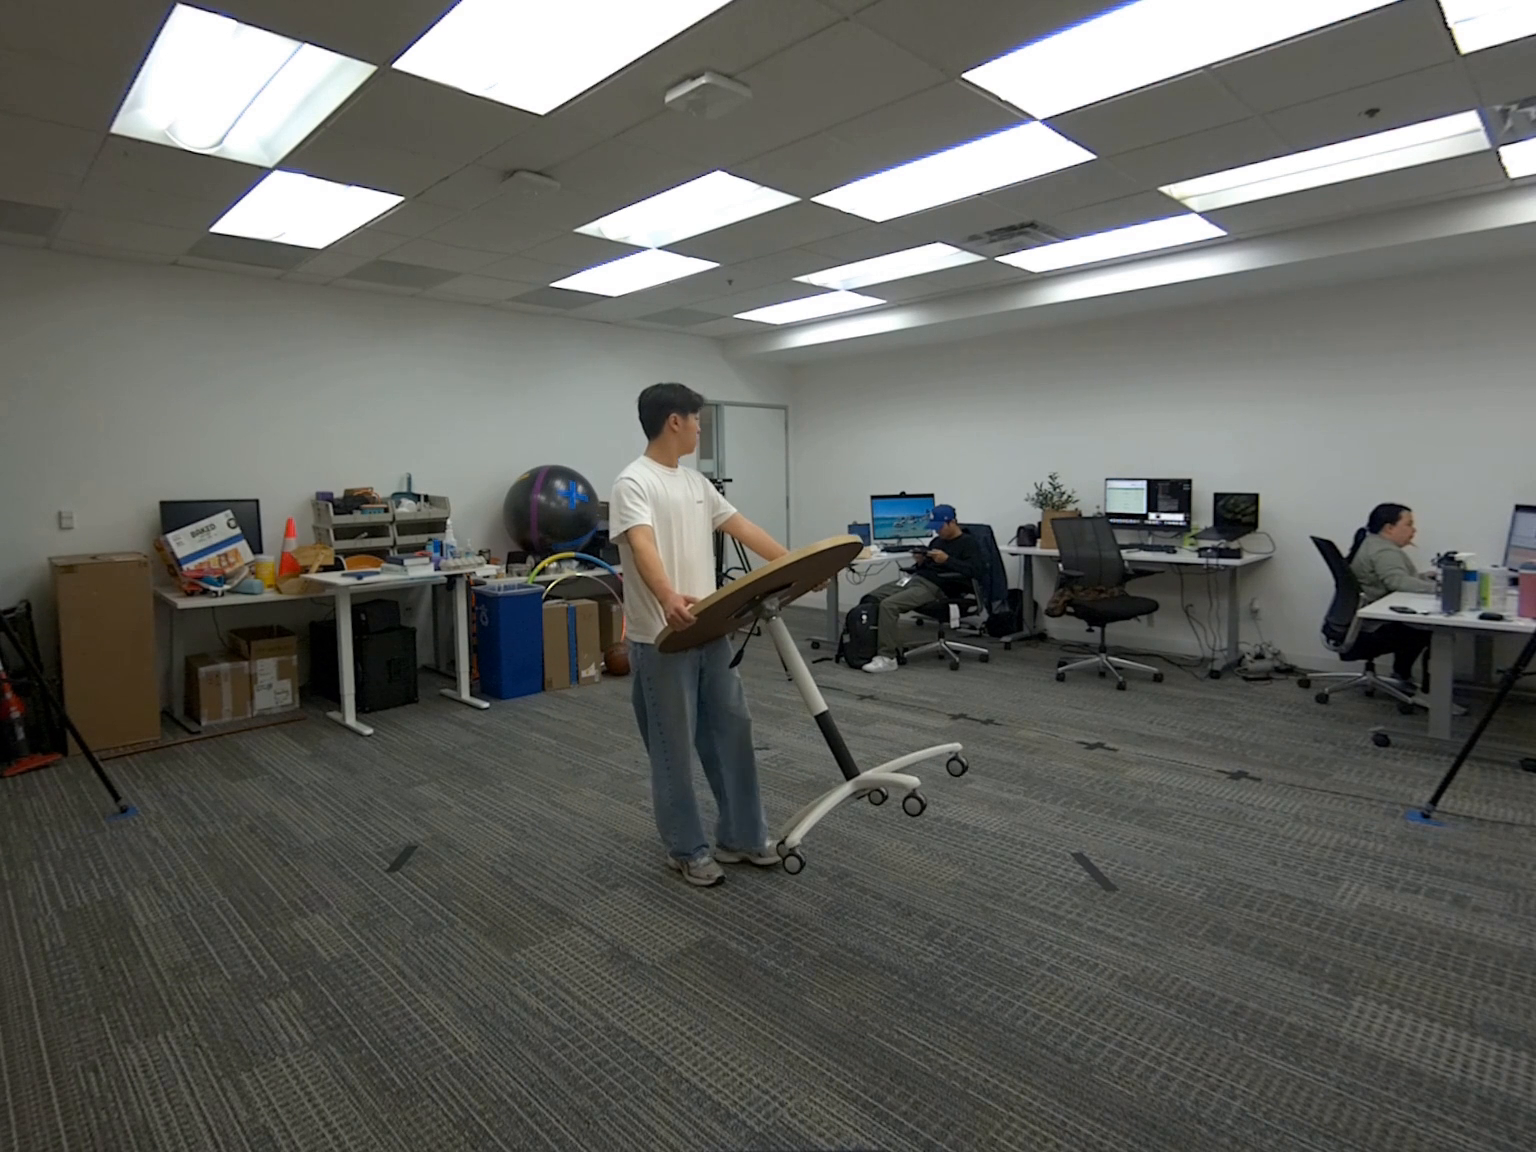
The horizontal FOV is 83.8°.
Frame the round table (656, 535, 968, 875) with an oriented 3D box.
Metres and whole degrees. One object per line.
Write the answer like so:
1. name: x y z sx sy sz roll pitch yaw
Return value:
1. round table: 0.154 0.414 2.751 0.761 0.807 0.754 -25 -12 -8
